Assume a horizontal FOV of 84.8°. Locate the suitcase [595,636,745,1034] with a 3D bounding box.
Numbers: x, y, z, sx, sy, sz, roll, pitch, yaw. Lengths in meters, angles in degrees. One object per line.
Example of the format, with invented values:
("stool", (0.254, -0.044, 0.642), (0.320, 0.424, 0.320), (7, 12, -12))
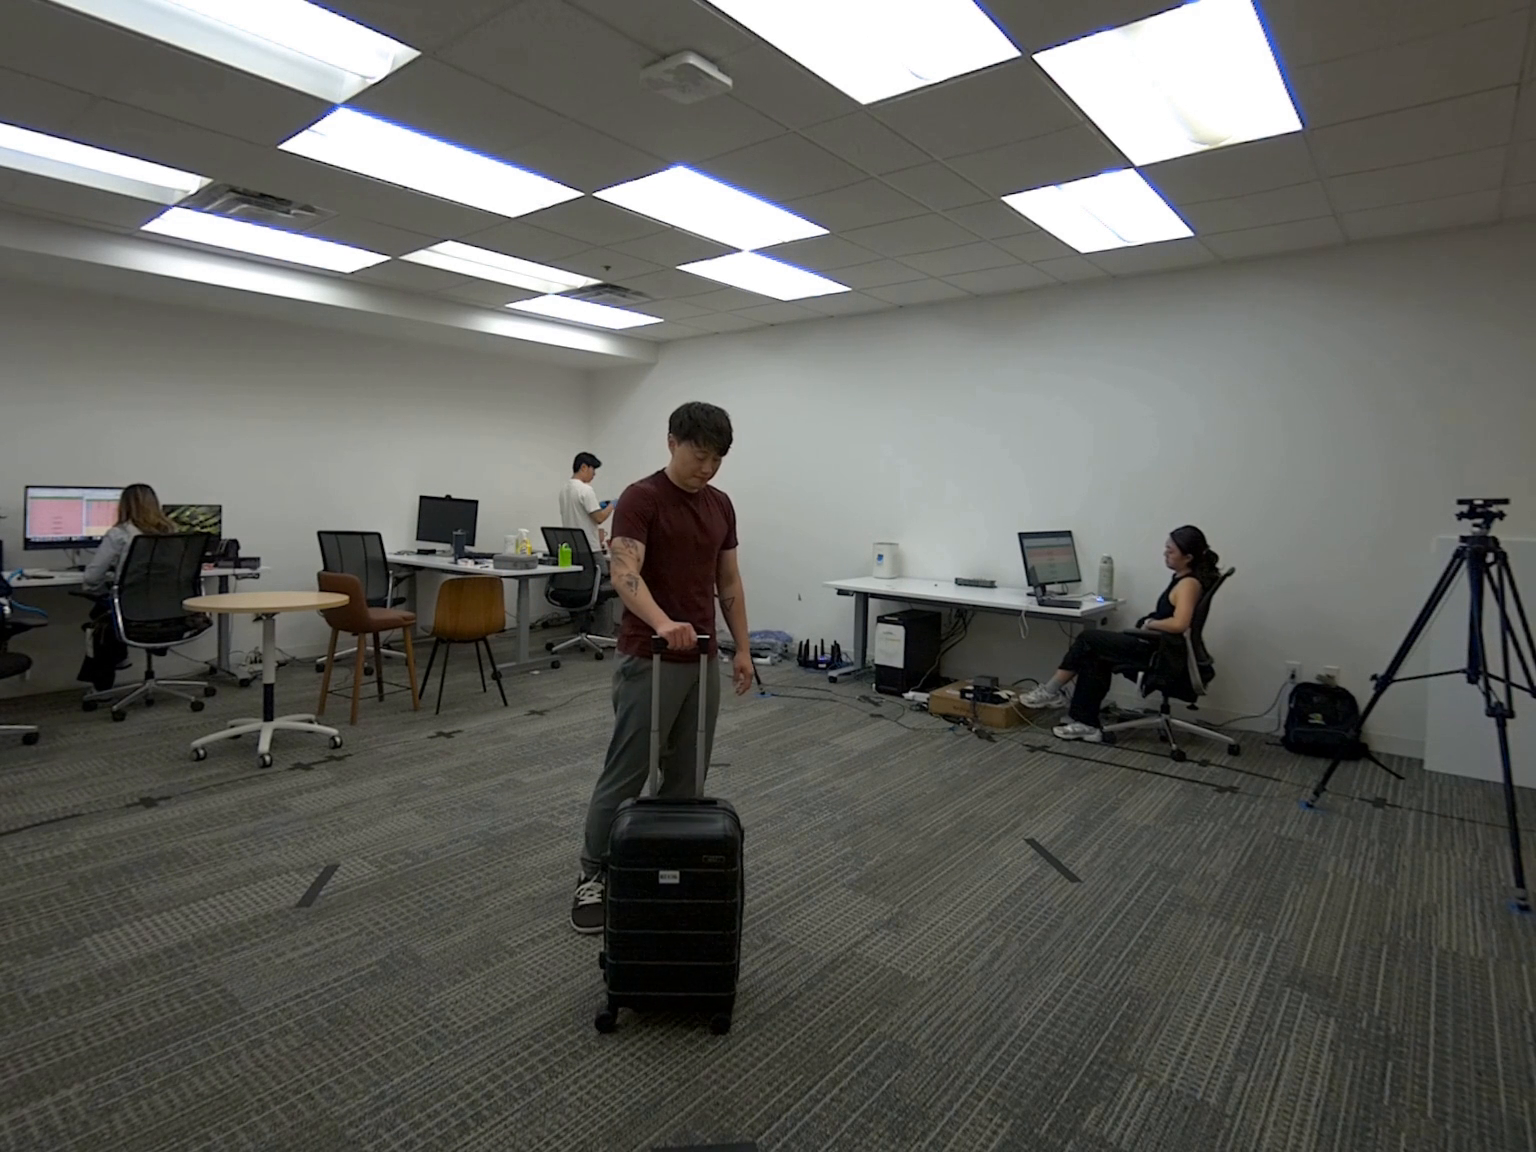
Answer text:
("suitcase", (-0.252, 0.673, 2.258), (0.383, 0.973, 0.259), (2, 5, -2))
